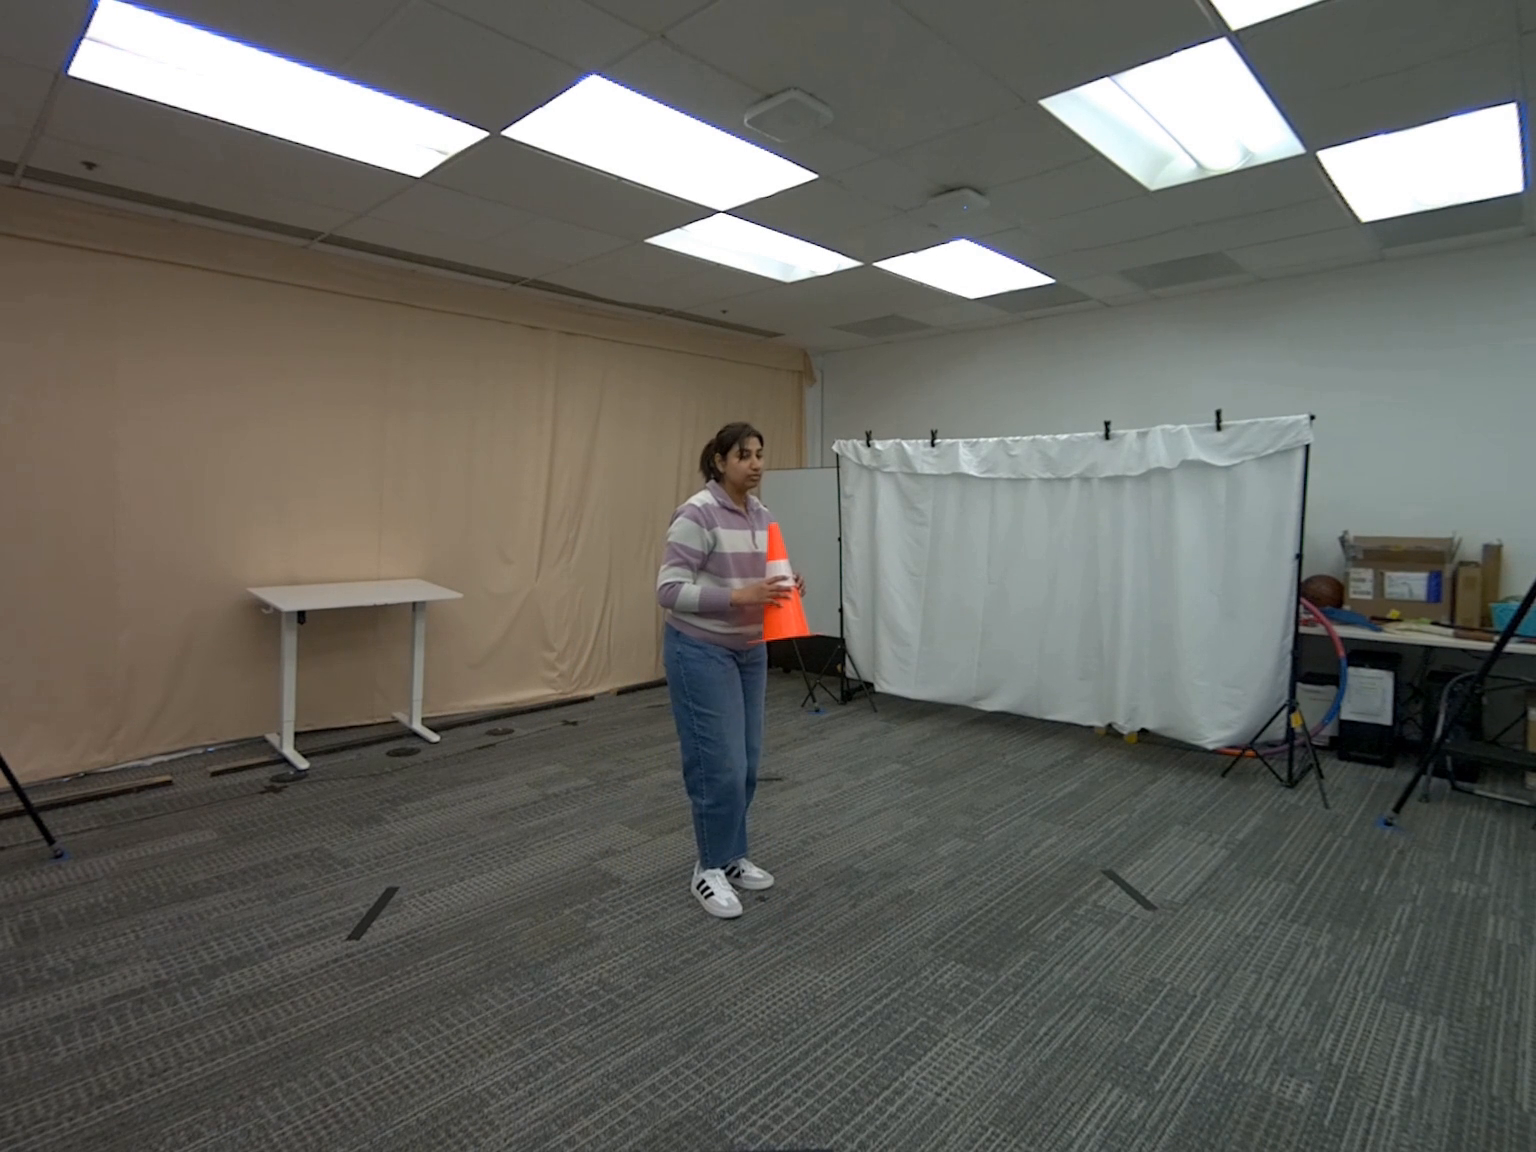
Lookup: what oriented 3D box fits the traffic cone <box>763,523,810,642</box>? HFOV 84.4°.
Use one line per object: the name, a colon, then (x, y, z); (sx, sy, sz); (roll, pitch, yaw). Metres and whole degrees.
traffic cone: (0.037, 0.018, 2.790); (0.209, 0.384, 0.199); (-9, -3, 40)
